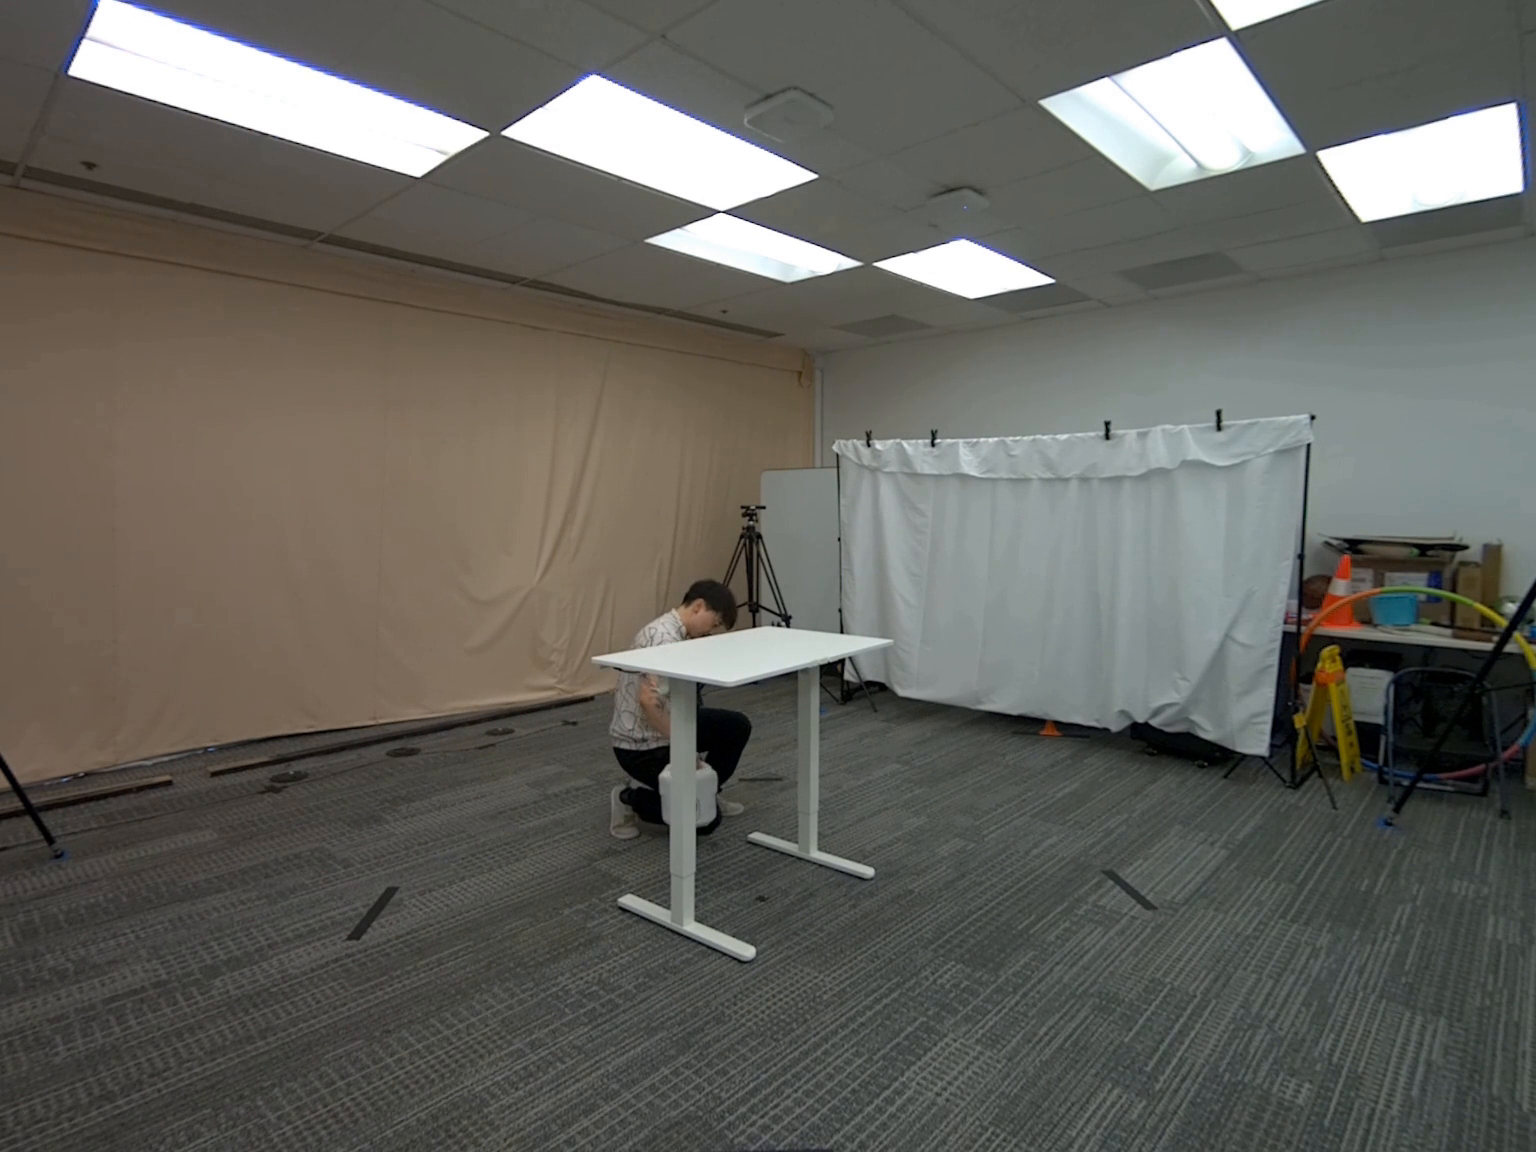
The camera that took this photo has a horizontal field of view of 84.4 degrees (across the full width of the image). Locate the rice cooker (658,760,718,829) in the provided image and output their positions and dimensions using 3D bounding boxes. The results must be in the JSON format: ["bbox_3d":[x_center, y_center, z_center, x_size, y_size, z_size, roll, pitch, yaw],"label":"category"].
[{"bbox_3d":[-0.297,0.805,3.165,0.218,0.233,0.219,-3,-1,-10],"label":"rice cooker"}]
